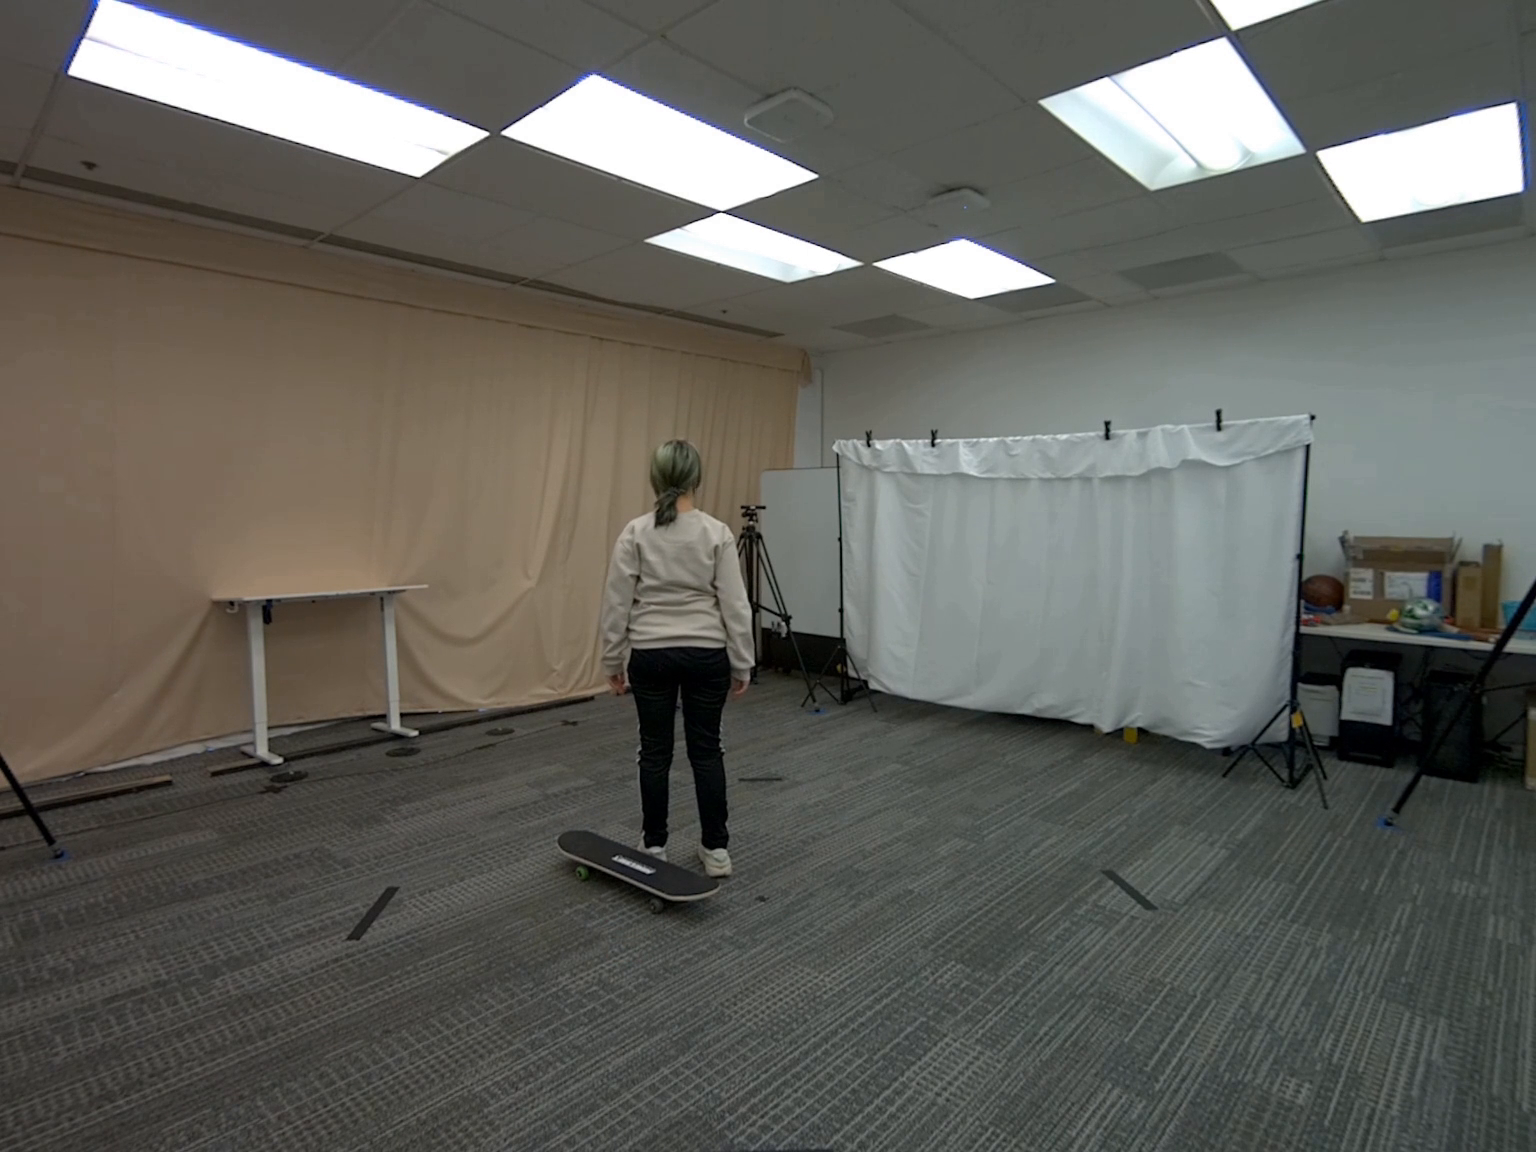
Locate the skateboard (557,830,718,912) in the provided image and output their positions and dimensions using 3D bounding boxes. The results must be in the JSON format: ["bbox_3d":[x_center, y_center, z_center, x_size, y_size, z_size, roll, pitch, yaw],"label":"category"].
[{"bbox_3d":[-0.490,1.083,3.076,0.811,0.110,0.187,3,5,40],"label":"skateboard"}]
